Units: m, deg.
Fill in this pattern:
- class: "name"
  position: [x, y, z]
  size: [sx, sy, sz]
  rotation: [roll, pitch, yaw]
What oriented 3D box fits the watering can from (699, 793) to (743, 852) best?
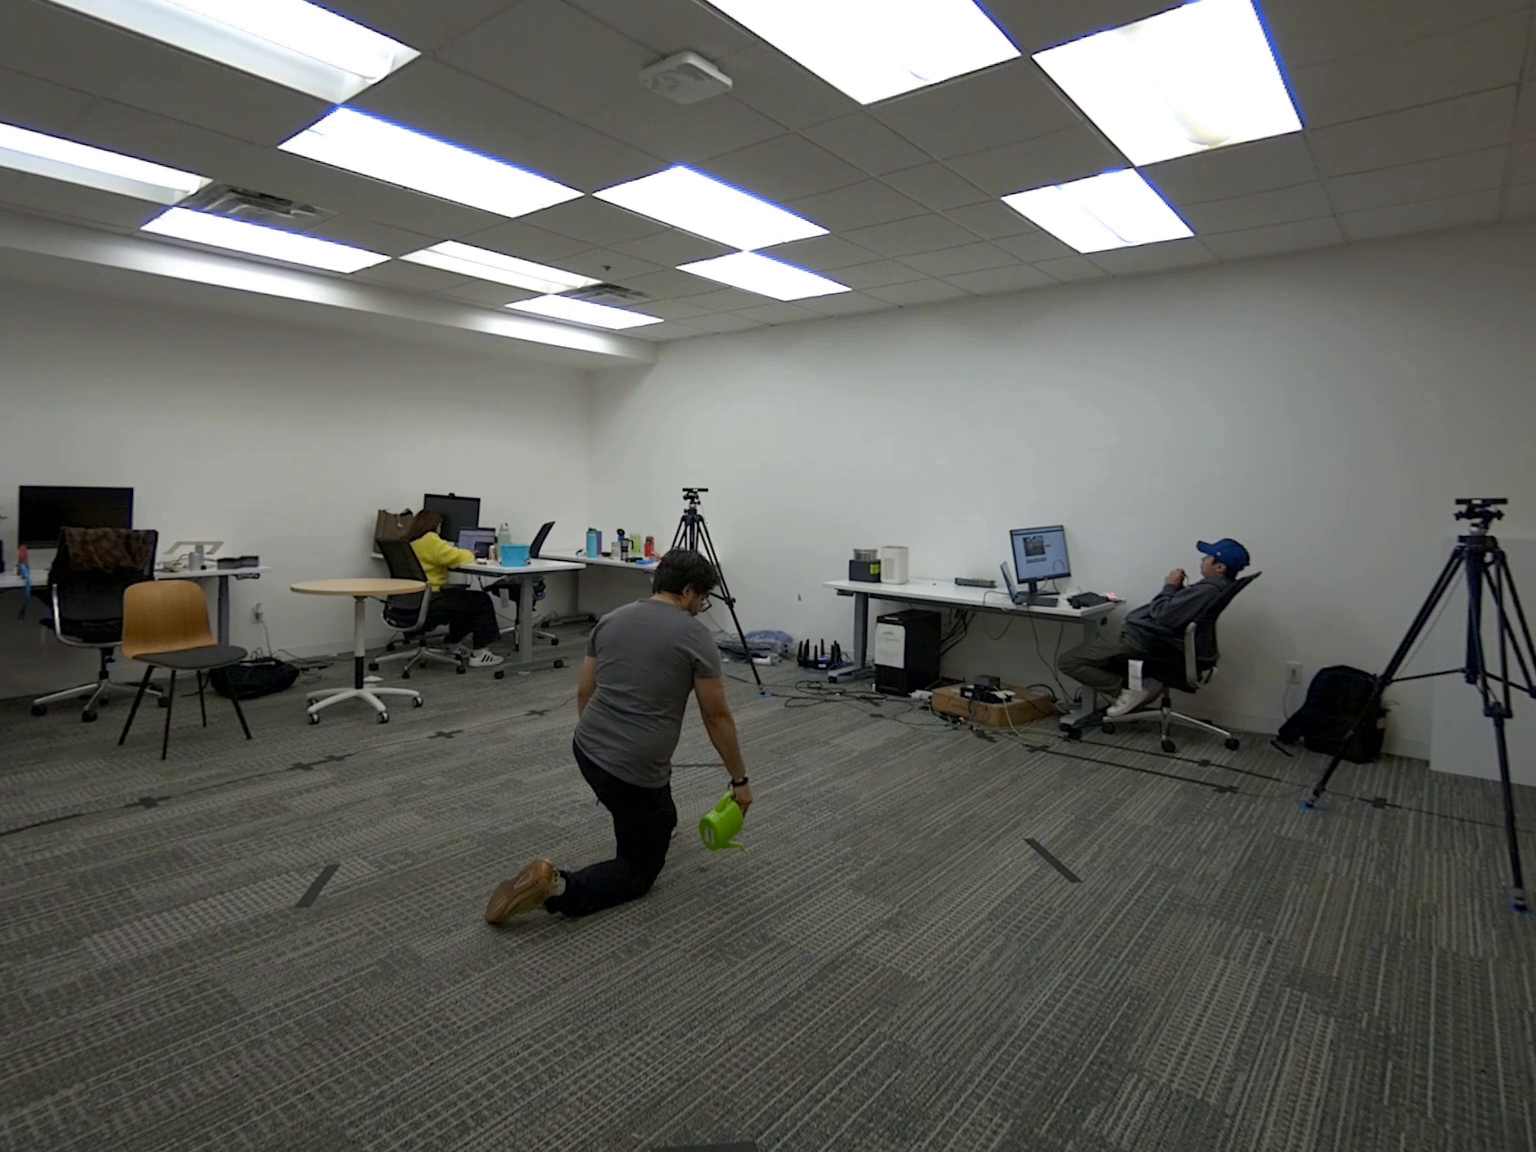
- class: "watering can"
  position: [-0.149, 0.896, 2.962]
  size: [0.101, 0.275, 0.174]
  rotation: [-5, 15, 42]
